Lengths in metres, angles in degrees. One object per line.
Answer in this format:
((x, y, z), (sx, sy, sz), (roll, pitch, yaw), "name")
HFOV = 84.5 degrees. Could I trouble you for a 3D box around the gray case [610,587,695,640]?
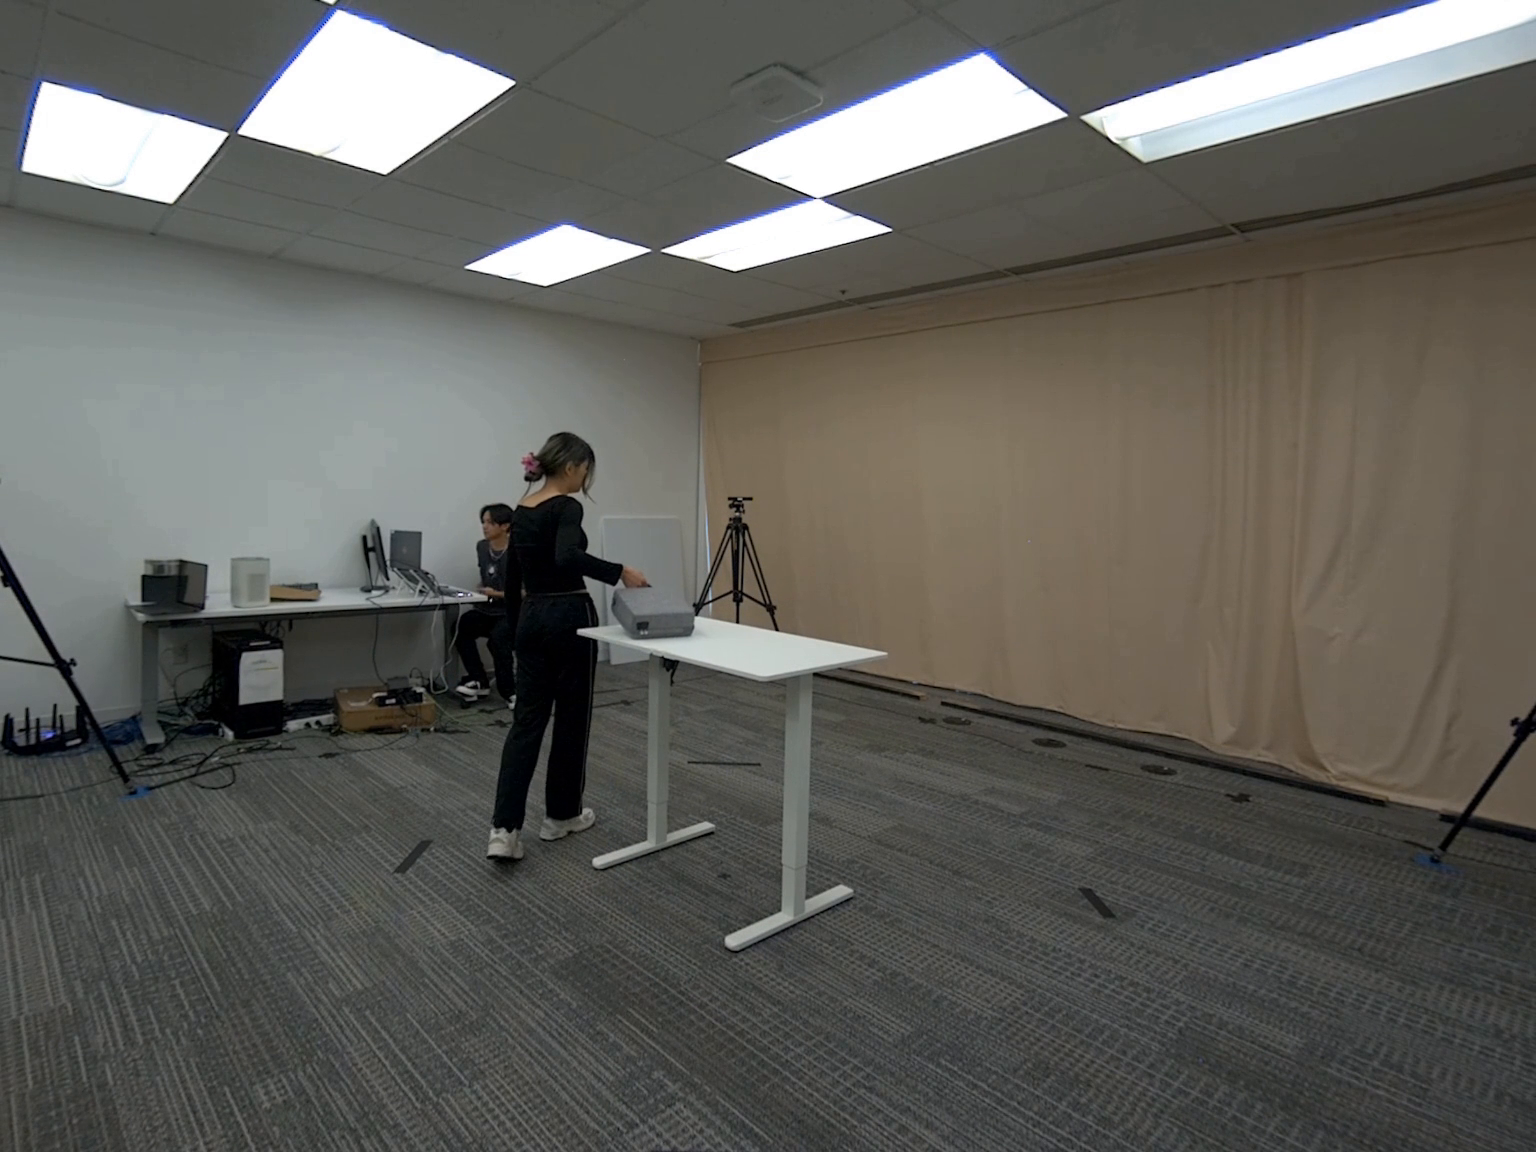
((-0.429, 0.133, 3.118), (0.252, 0.103, 0.268), (-4, 23, -27), "gray case")
